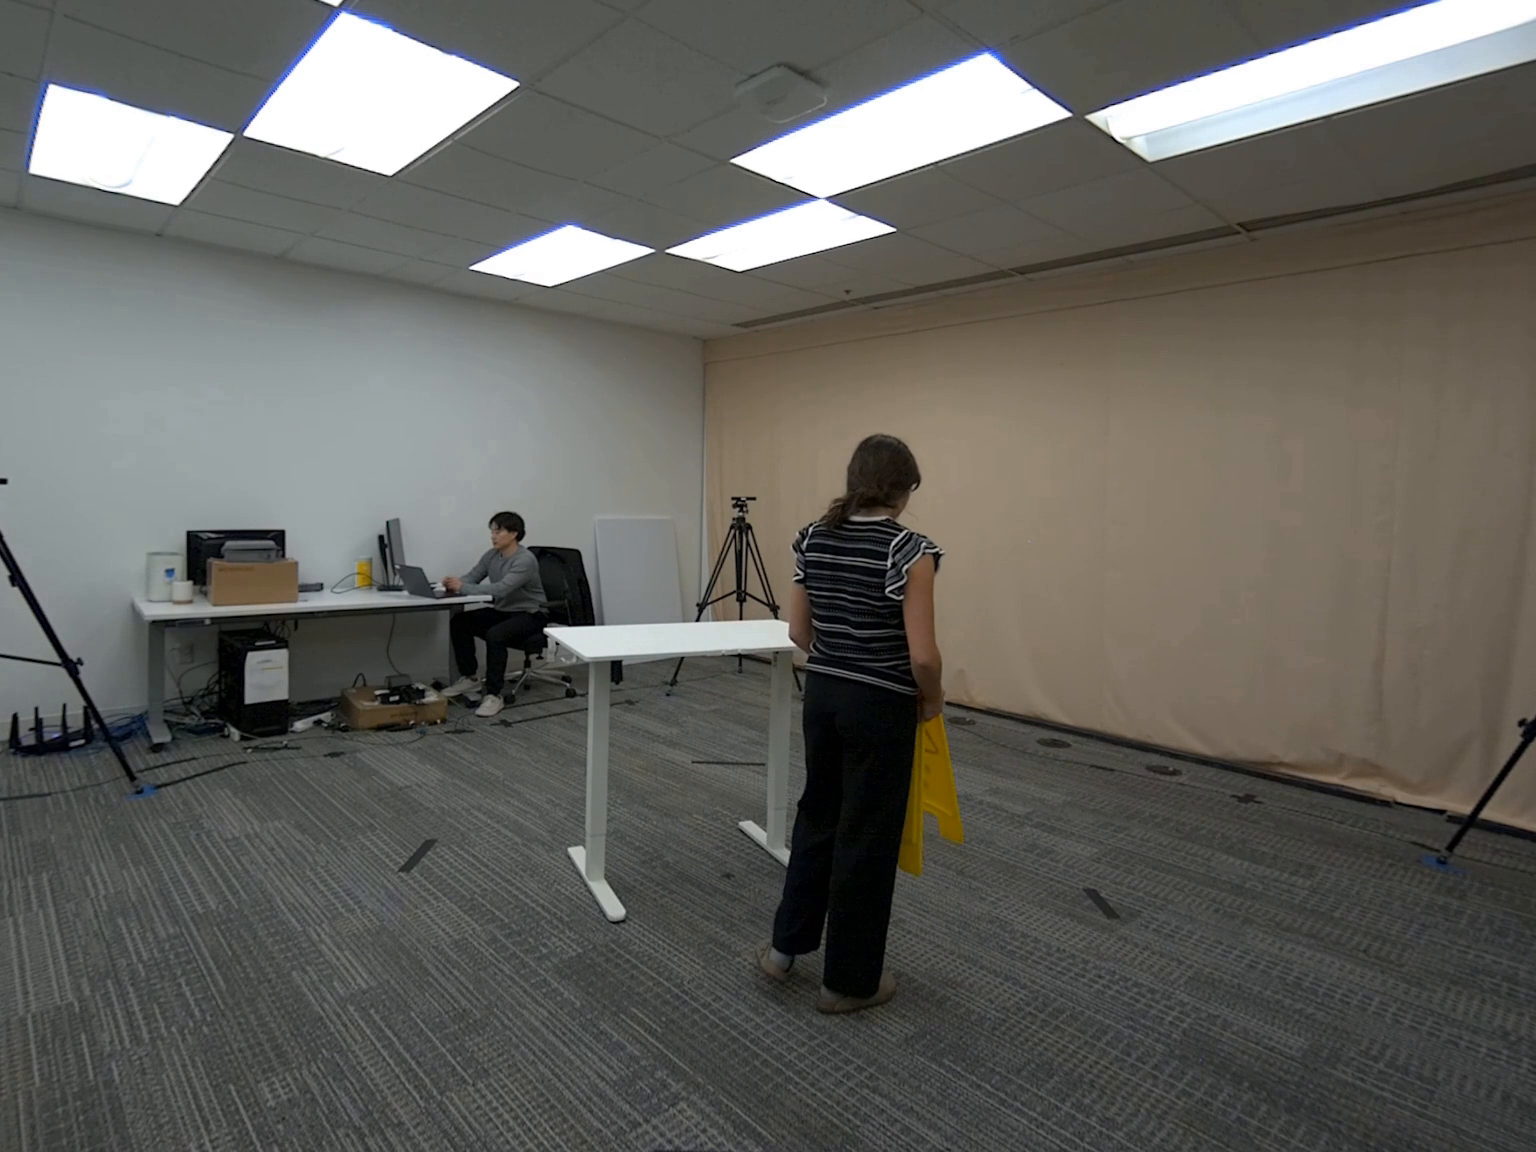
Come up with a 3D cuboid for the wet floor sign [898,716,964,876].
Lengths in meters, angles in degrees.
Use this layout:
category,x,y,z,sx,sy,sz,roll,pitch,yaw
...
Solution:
category,x,y,z,sx,sy,sz,roll,pitch,yaw
wet floor sign,0.380,0.501,2.488,0.284,0.641,0.290,-12,13,-43
